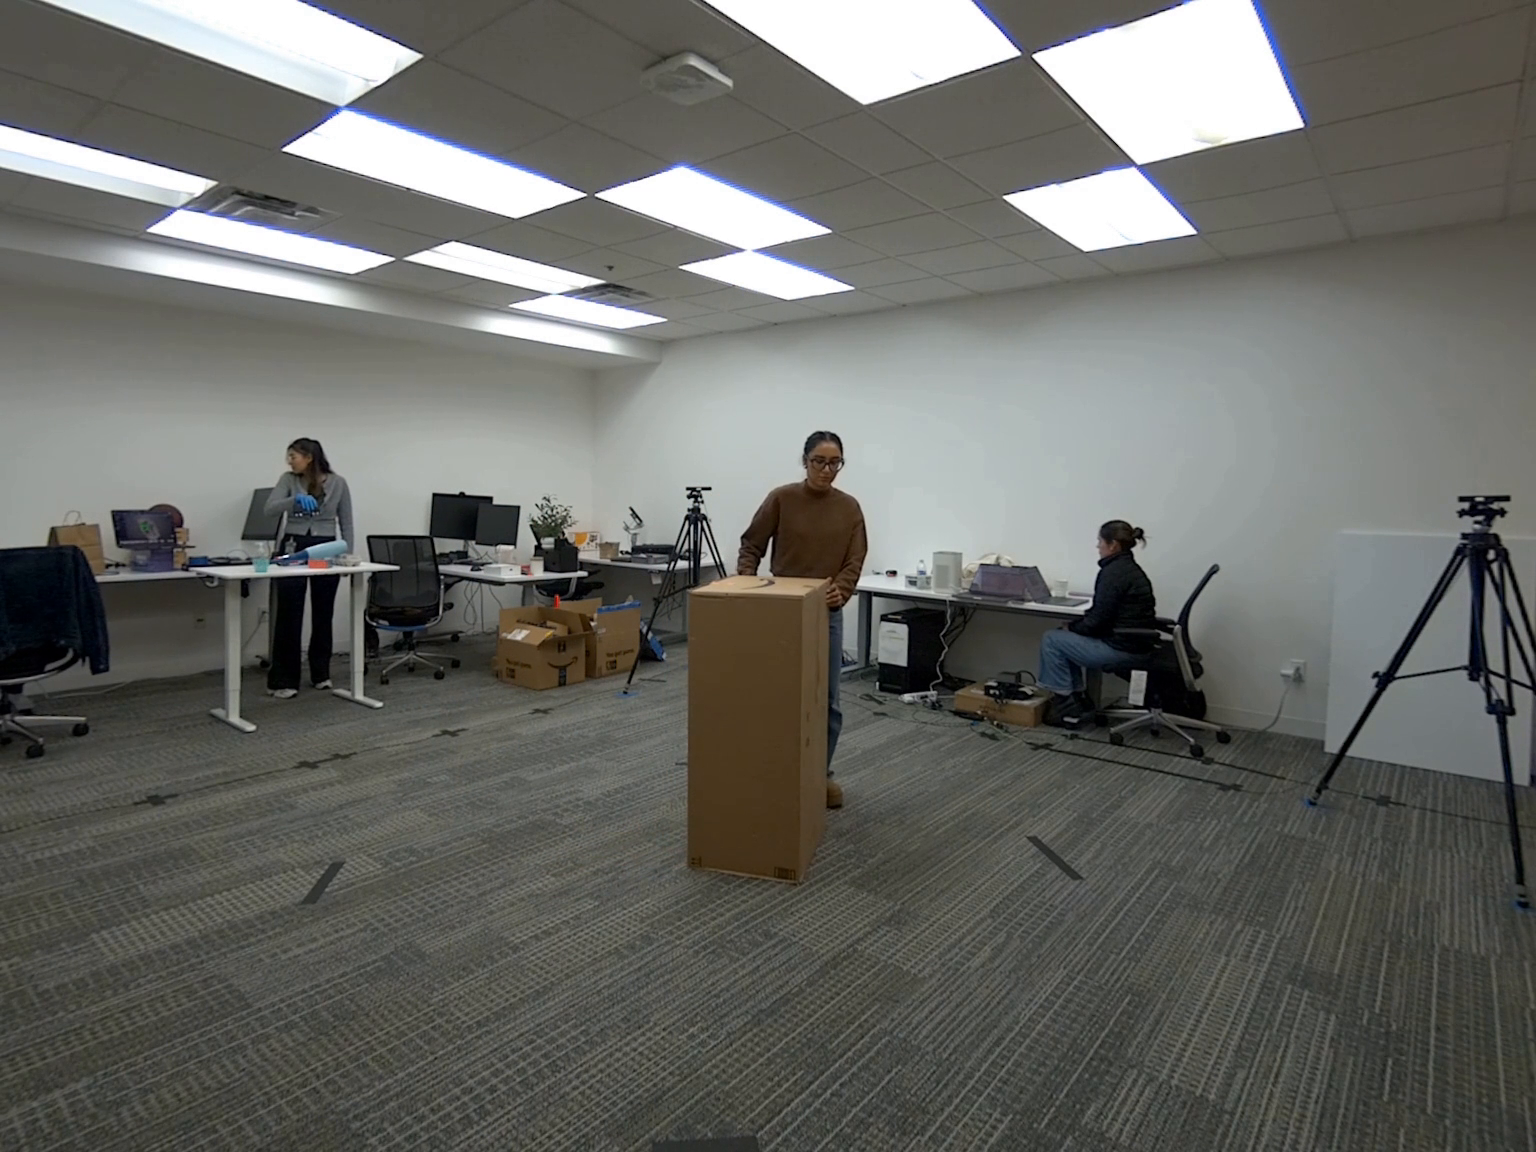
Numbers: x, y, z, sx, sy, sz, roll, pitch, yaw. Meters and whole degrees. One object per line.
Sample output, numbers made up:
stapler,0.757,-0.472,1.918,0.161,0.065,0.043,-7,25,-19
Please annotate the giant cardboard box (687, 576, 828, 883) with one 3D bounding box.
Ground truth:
giant cardboard box,-0.040,0.540,3.284,0.434,1.022,0.569,1,4,16
